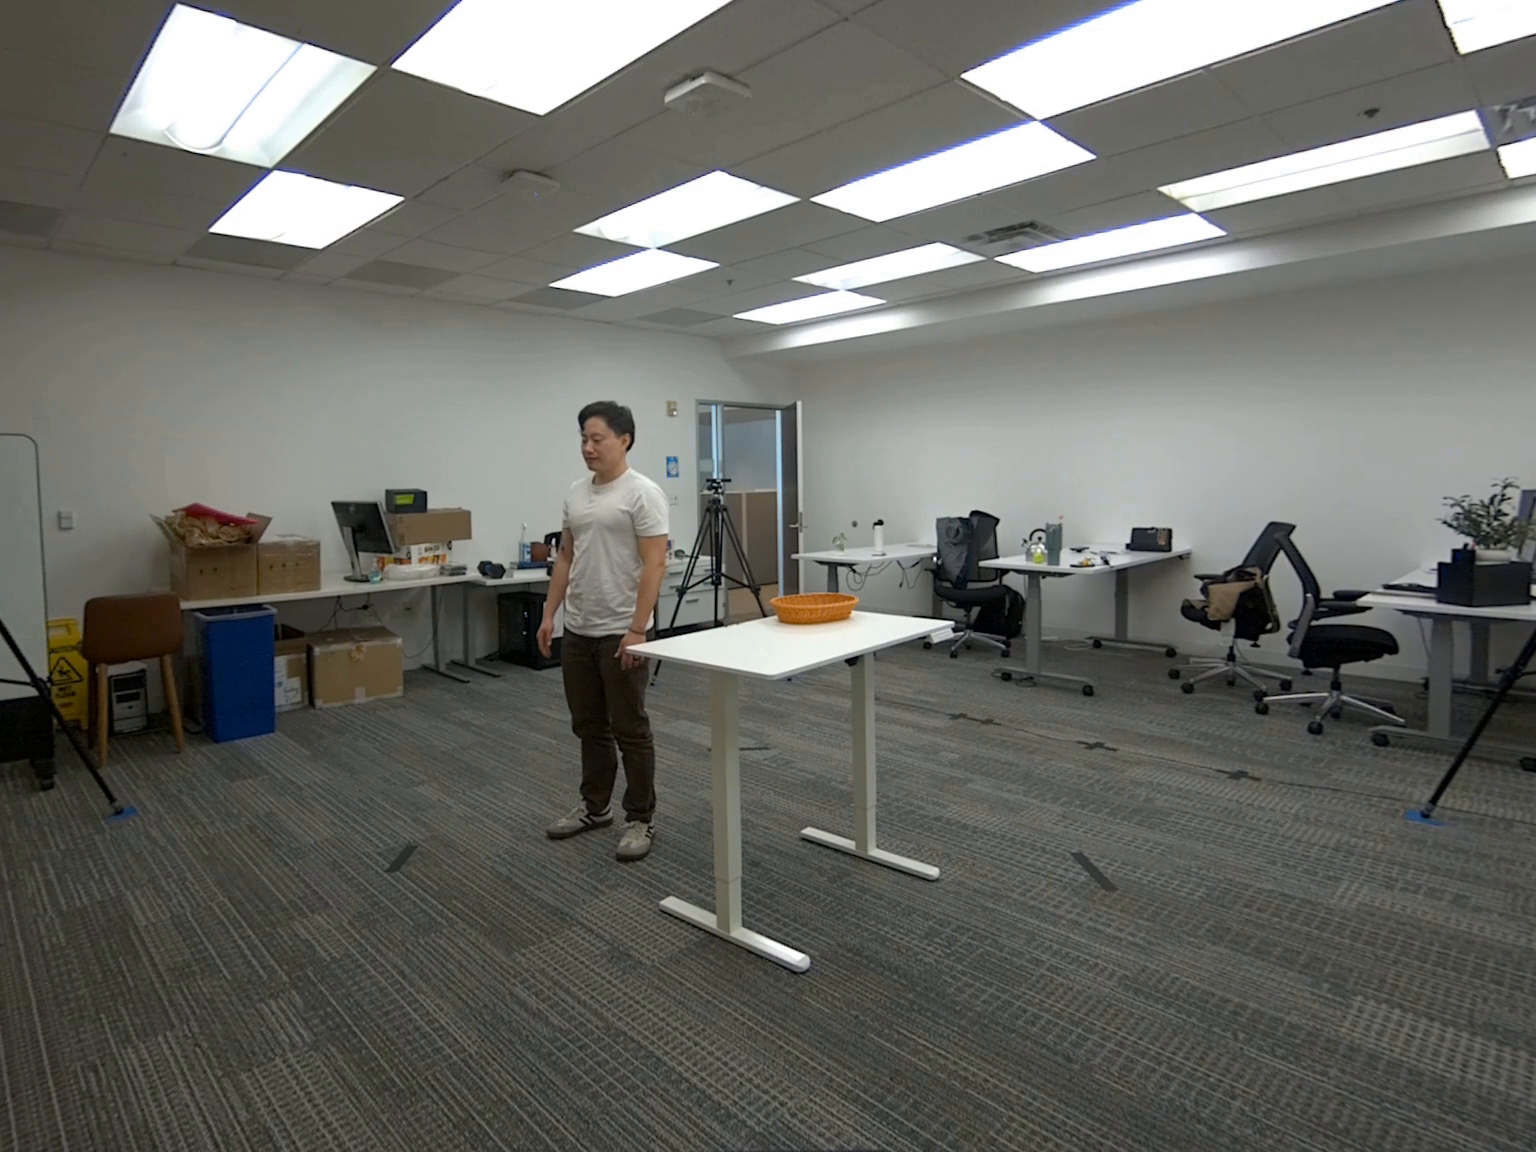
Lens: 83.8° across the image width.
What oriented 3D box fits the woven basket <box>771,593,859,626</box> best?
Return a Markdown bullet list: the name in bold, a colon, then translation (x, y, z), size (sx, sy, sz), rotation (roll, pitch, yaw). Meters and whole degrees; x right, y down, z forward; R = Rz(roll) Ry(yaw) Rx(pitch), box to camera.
- **woven basket**: translation (0.172, 0.125, 3.102), size (0.342, 0.073, 0.259), rotation (-4, 7, -28)
